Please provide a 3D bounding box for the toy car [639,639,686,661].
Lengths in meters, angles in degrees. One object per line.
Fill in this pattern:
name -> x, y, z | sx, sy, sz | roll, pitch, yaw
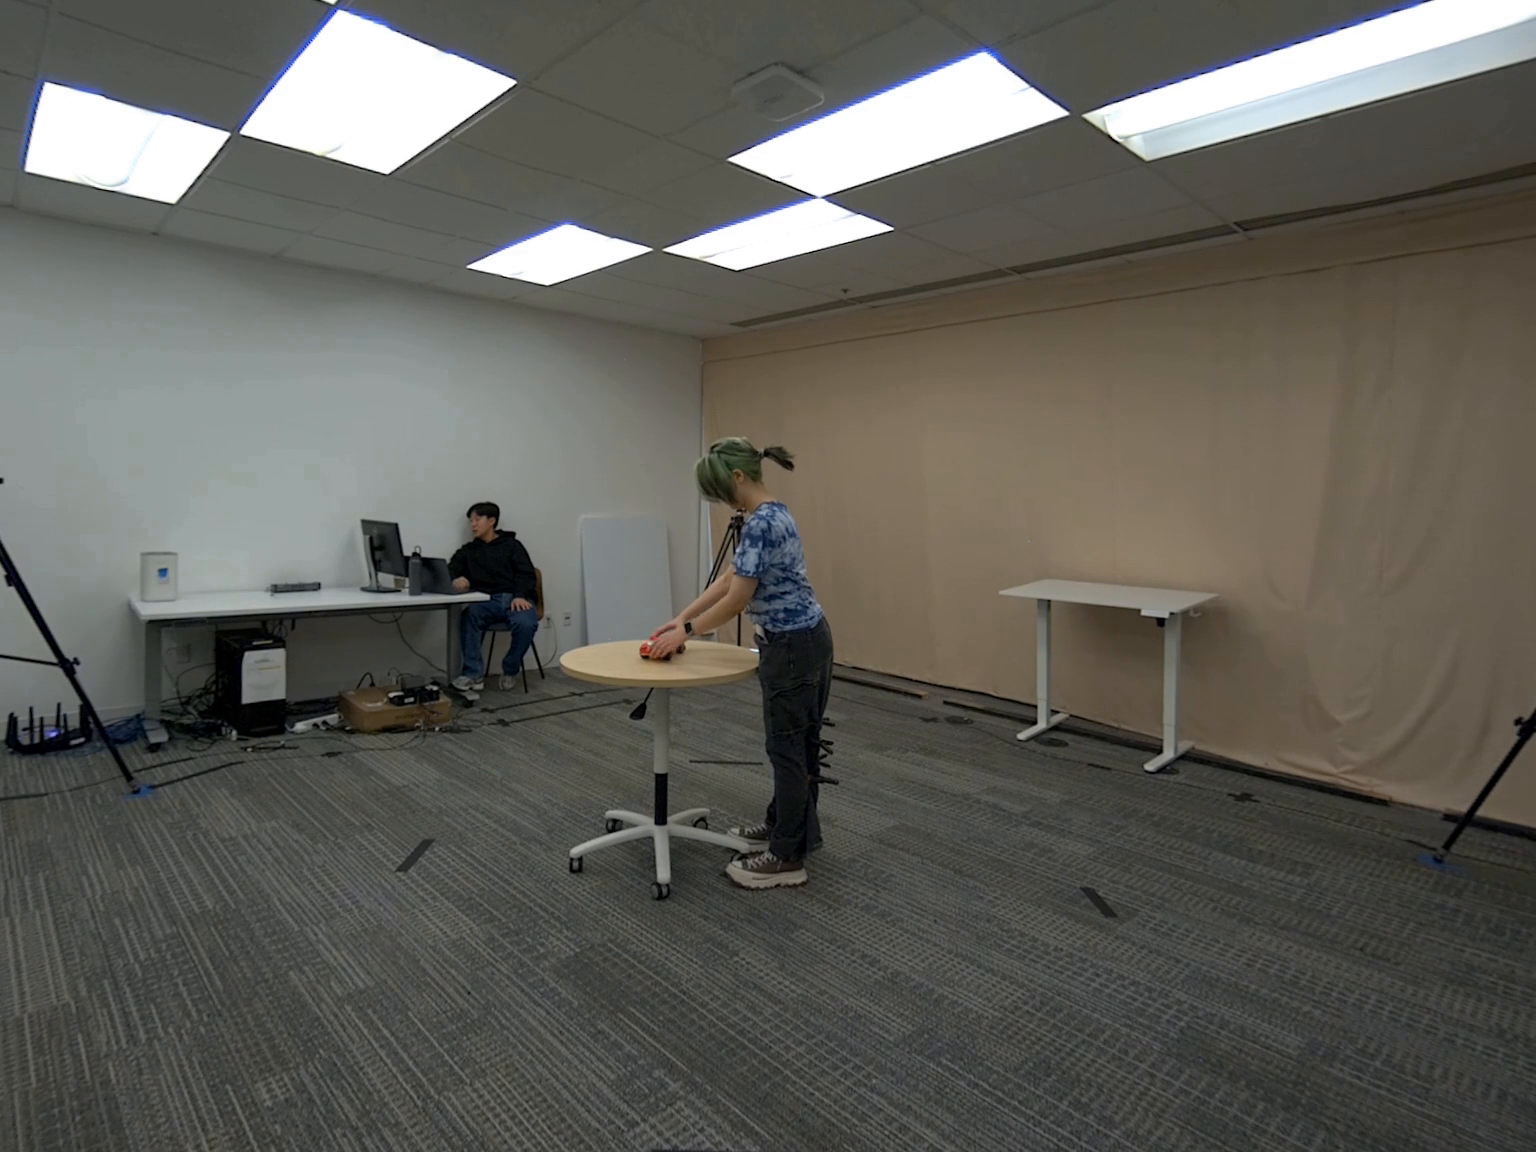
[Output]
toy car -> -0.406, 0.276, 3.193 | 0.132, 0.083, 0.250 | 2, -5, 13
